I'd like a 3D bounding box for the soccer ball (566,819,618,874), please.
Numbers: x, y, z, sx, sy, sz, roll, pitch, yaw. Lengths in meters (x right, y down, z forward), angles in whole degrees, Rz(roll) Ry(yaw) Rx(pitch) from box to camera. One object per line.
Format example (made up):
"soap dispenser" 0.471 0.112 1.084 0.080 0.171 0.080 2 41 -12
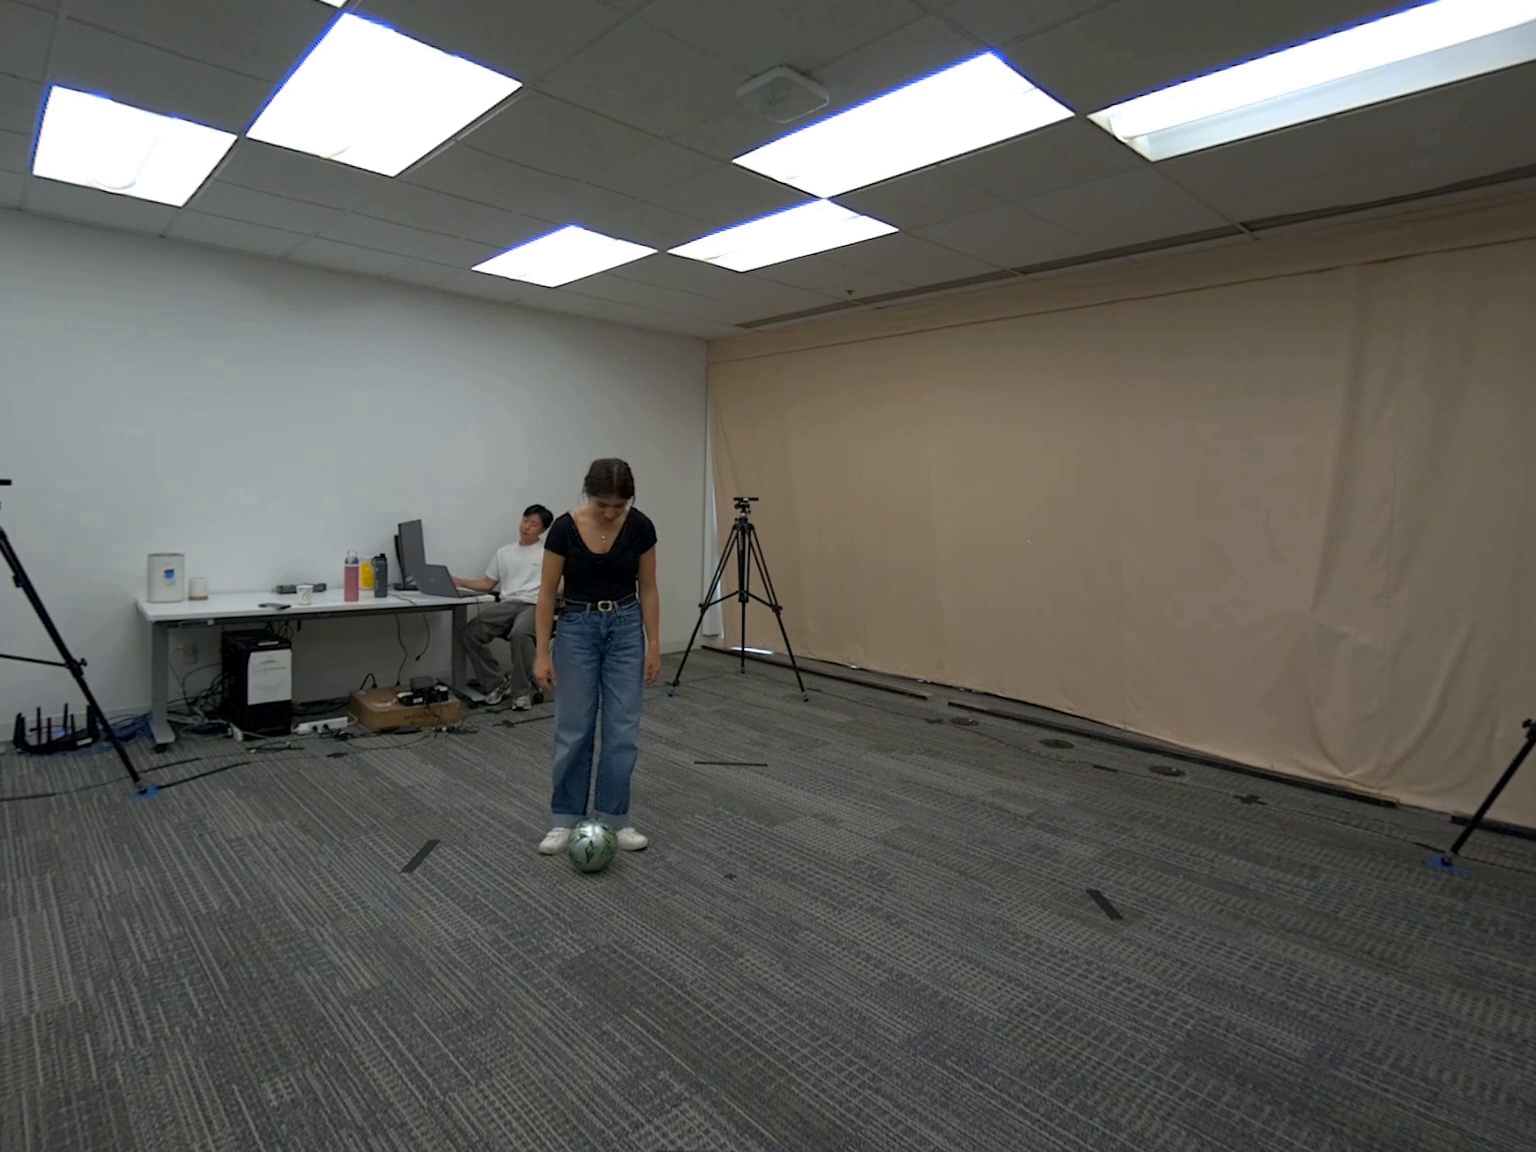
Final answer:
"soccer ball" -0.667 1.004 3.116 0.187 0.187 0.188 1 4 -1
